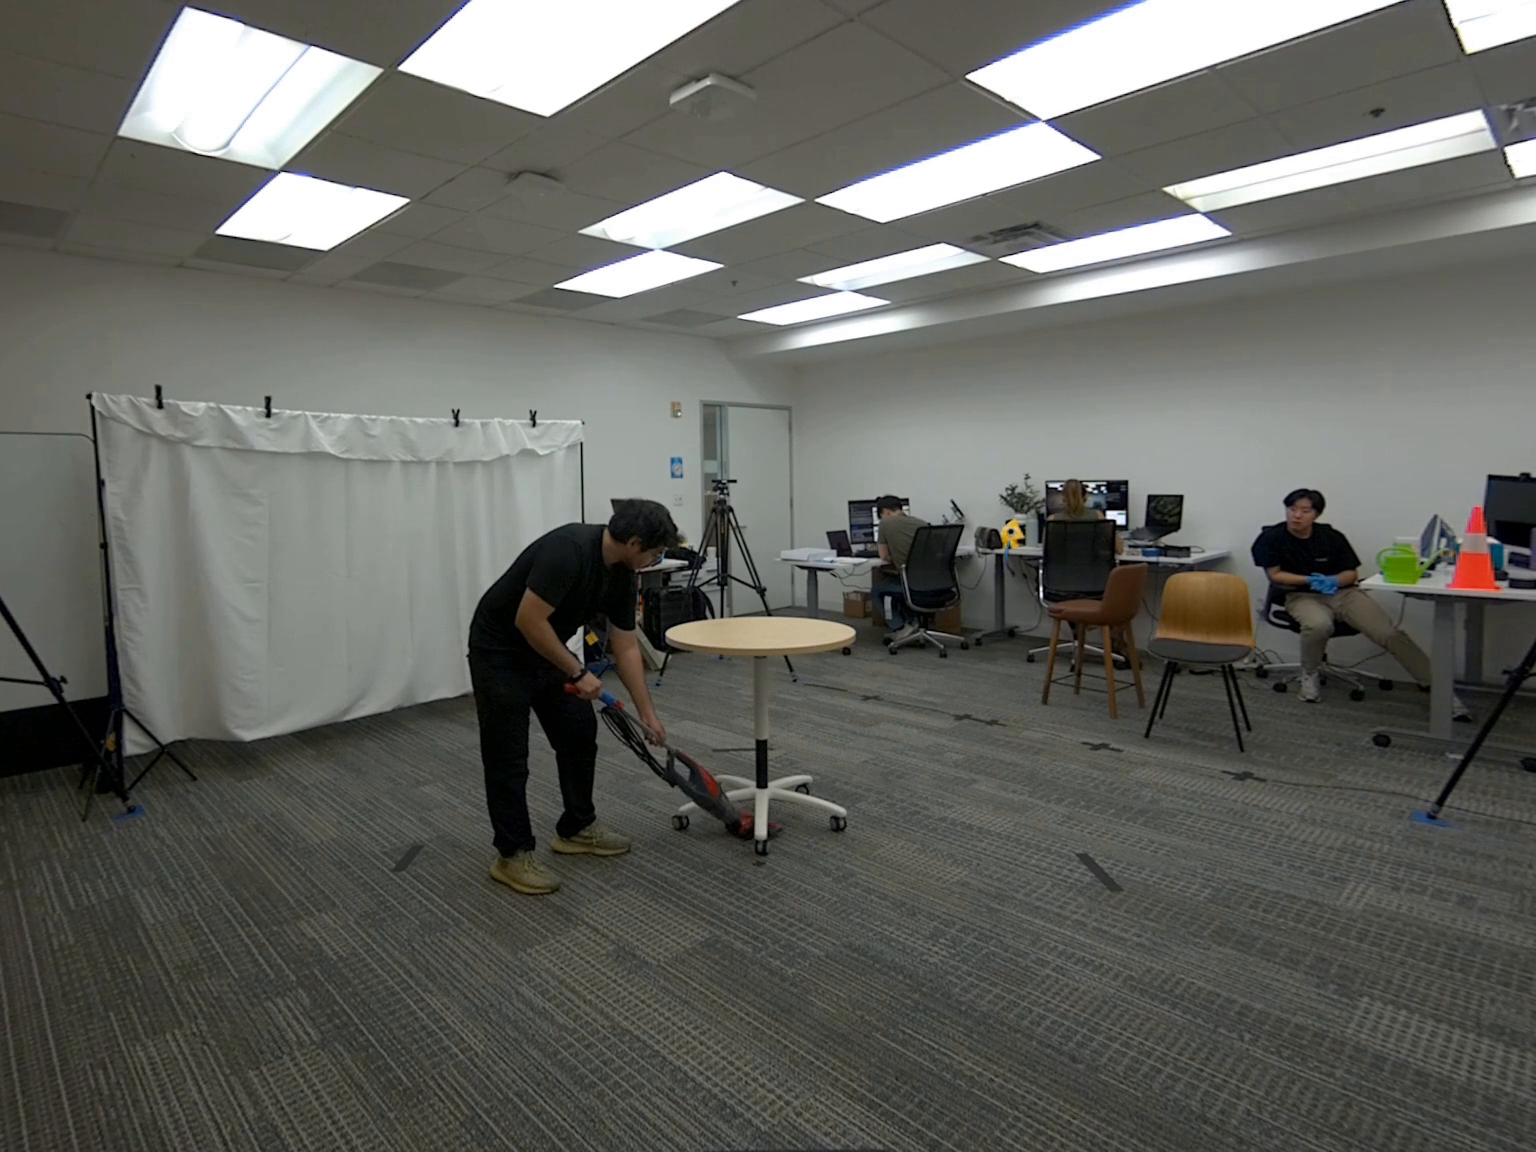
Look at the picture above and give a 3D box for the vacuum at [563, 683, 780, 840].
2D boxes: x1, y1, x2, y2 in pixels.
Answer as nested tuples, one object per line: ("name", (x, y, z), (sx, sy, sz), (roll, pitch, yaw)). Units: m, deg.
("vacuum", (-0.382, 0.667, 3.149), (1.015, 0.144, 0.261), (44, -2, -29))
